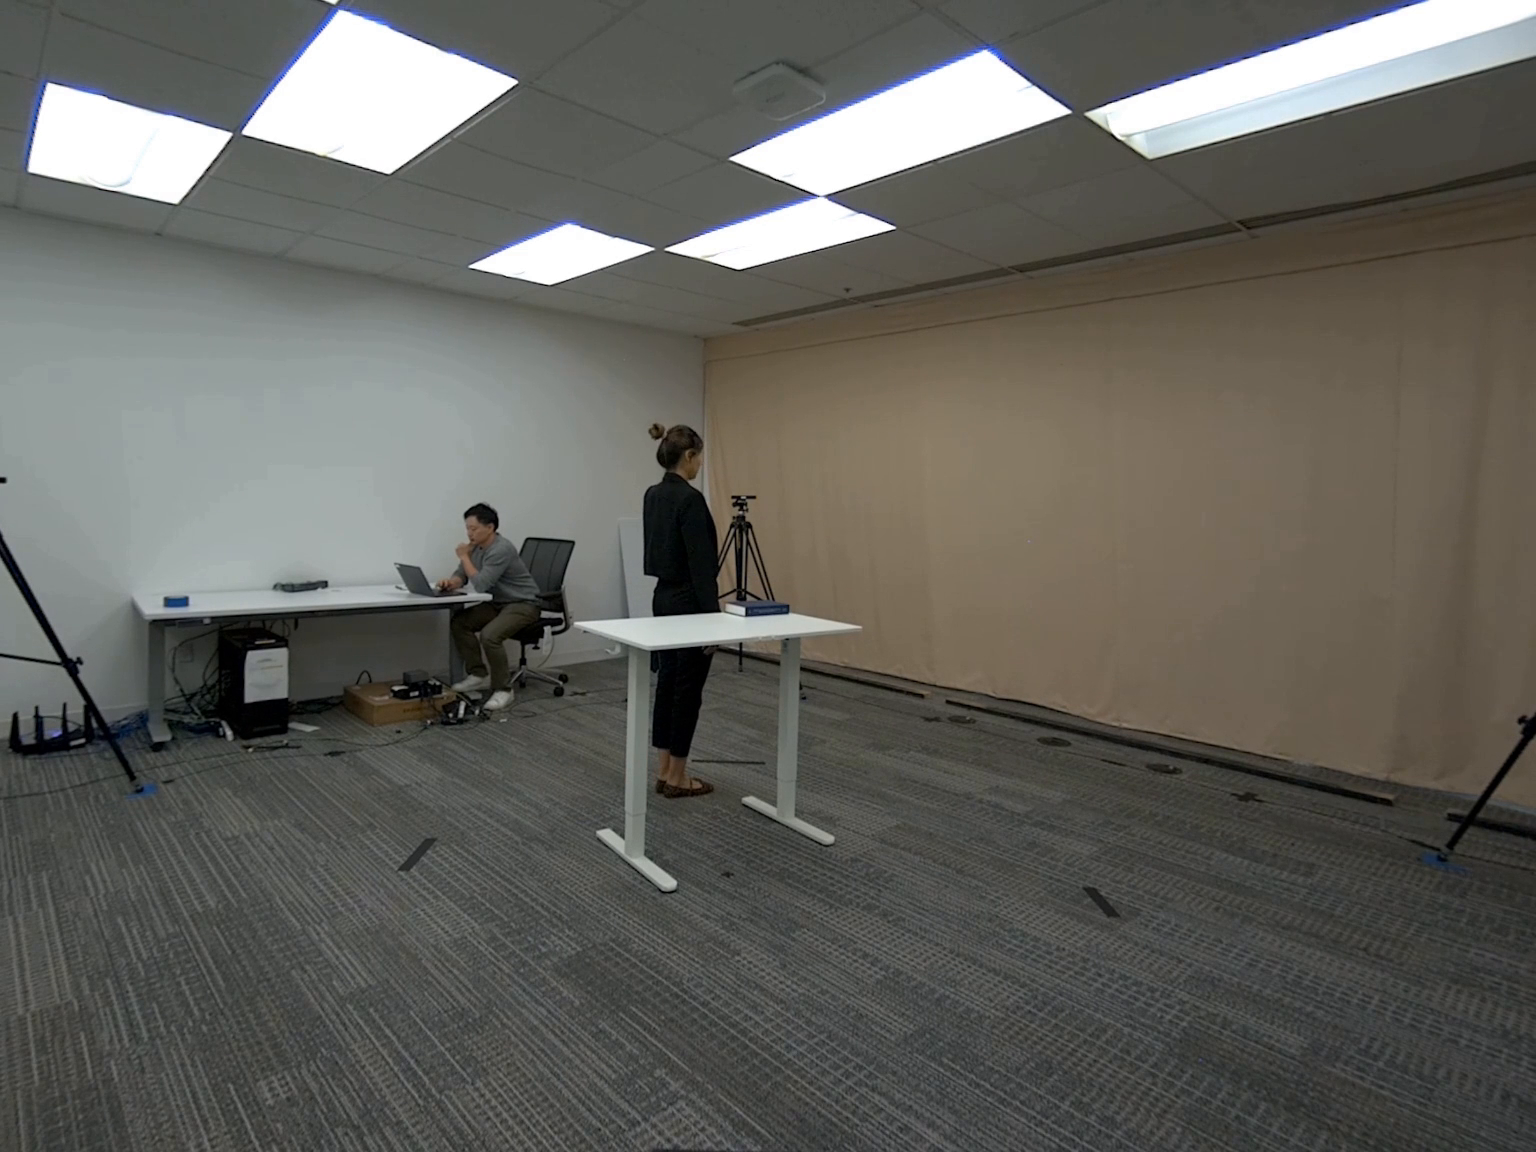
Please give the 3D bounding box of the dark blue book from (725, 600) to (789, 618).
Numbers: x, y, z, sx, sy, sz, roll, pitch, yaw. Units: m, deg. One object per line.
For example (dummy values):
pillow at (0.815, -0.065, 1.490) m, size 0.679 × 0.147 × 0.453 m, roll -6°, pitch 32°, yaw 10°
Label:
dark blue book at (-0.051, 0.142, 3.727) m, size 0.240 × 0.045 × 0.167 m, roll -3°, pitch 7°, yaw -33°
